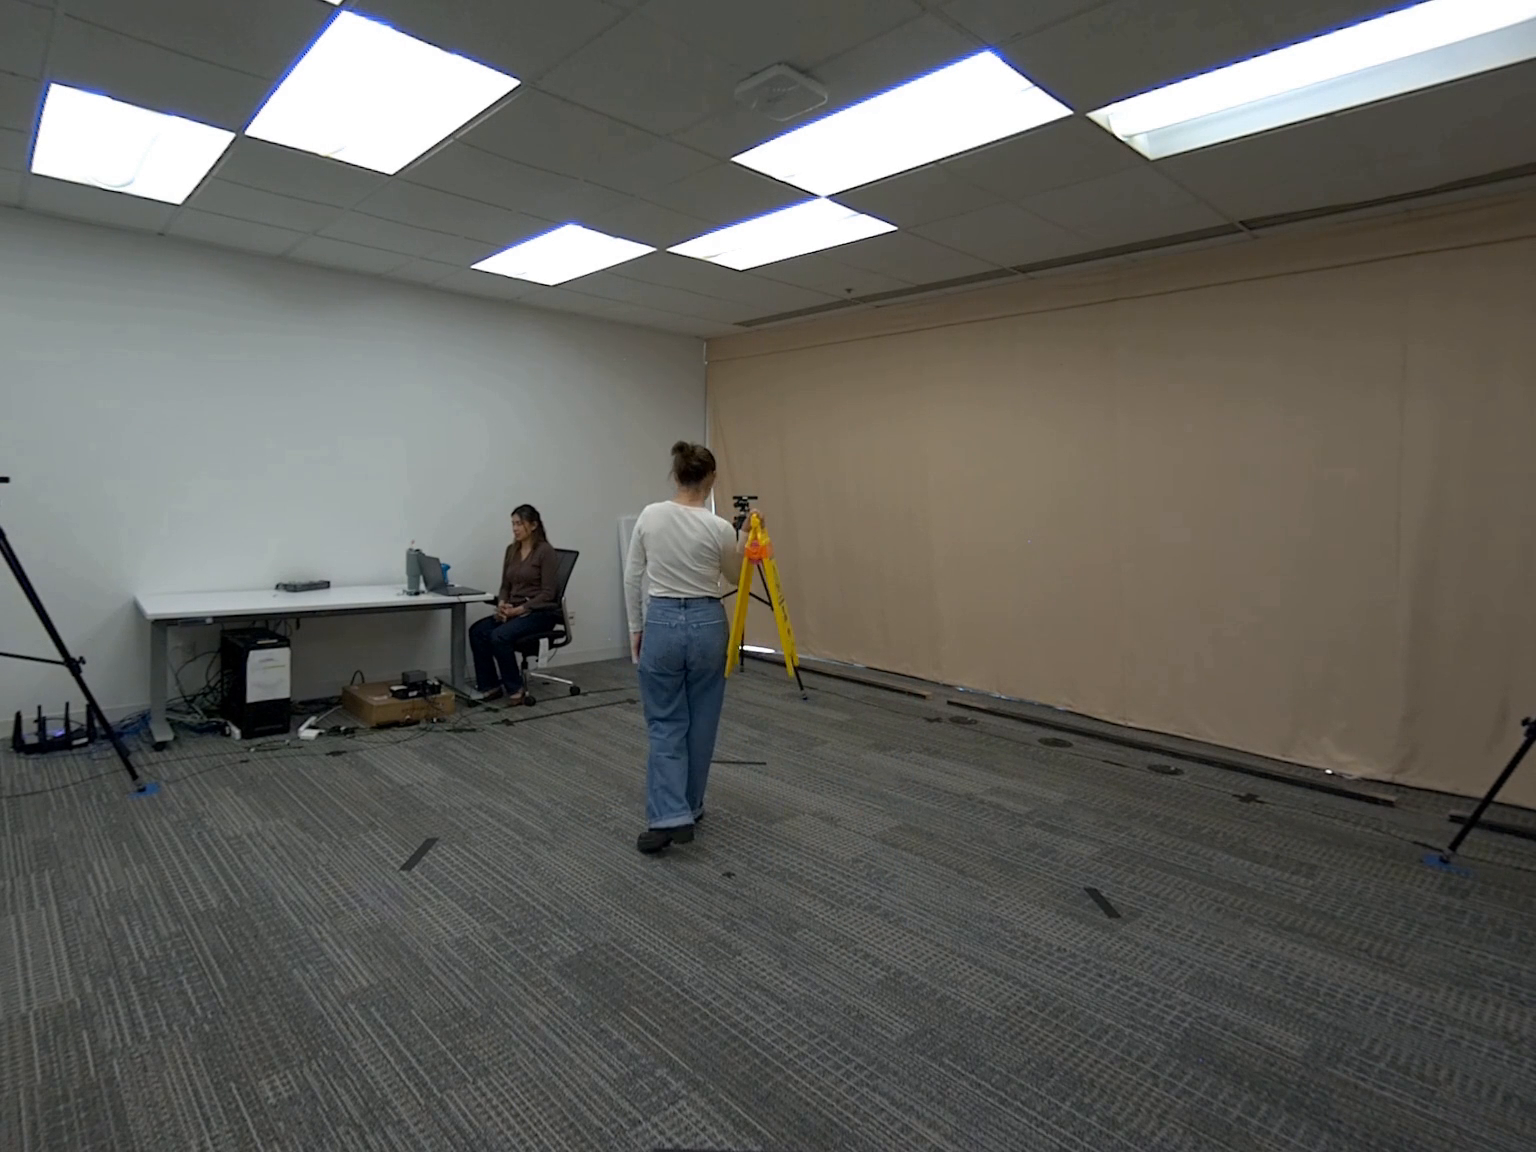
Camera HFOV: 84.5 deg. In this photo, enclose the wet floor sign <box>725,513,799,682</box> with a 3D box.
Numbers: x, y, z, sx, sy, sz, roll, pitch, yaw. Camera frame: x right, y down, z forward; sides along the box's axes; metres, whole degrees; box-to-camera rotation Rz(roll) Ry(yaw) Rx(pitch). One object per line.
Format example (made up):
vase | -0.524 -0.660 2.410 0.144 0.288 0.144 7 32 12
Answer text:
wet floor sign | -0.045 0.061 3.458 0.292 0.645 0.280 -1 2 9
